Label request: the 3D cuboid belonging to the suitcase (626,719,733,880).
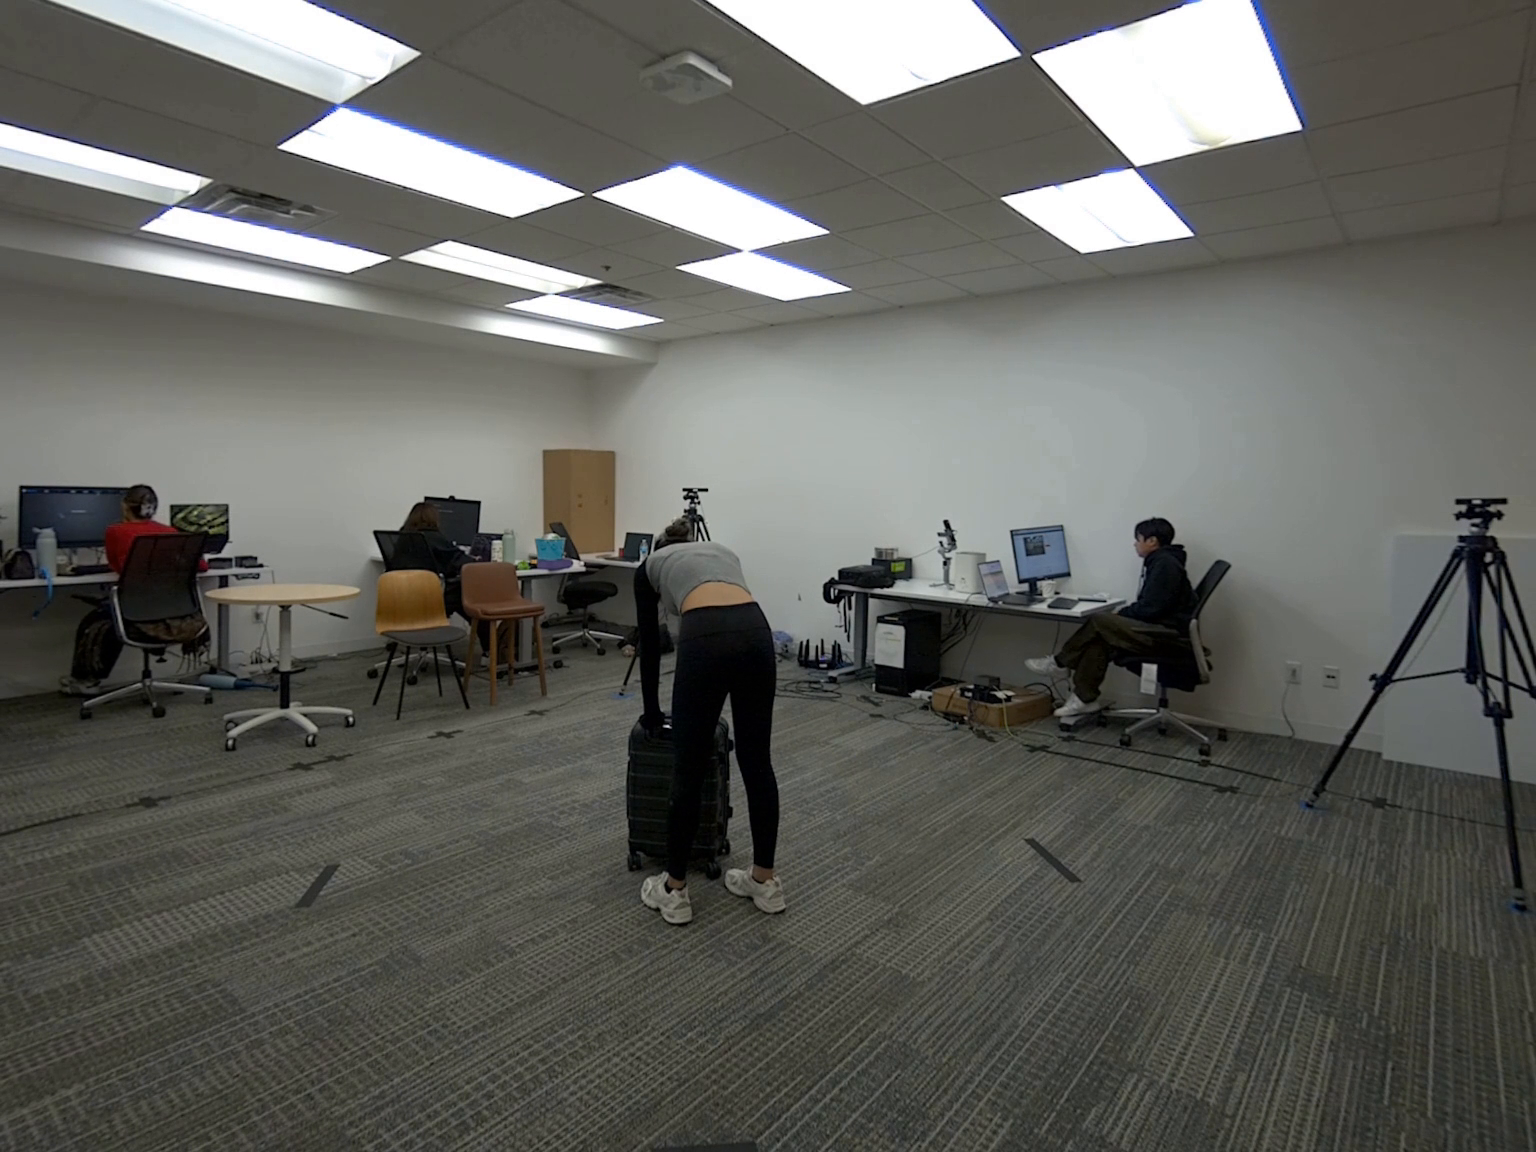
[{"bbox_3d":[-0.343,0.786,3.186,0.380,0.549,0.245,1,1,12],"label":"suitcase"}]
